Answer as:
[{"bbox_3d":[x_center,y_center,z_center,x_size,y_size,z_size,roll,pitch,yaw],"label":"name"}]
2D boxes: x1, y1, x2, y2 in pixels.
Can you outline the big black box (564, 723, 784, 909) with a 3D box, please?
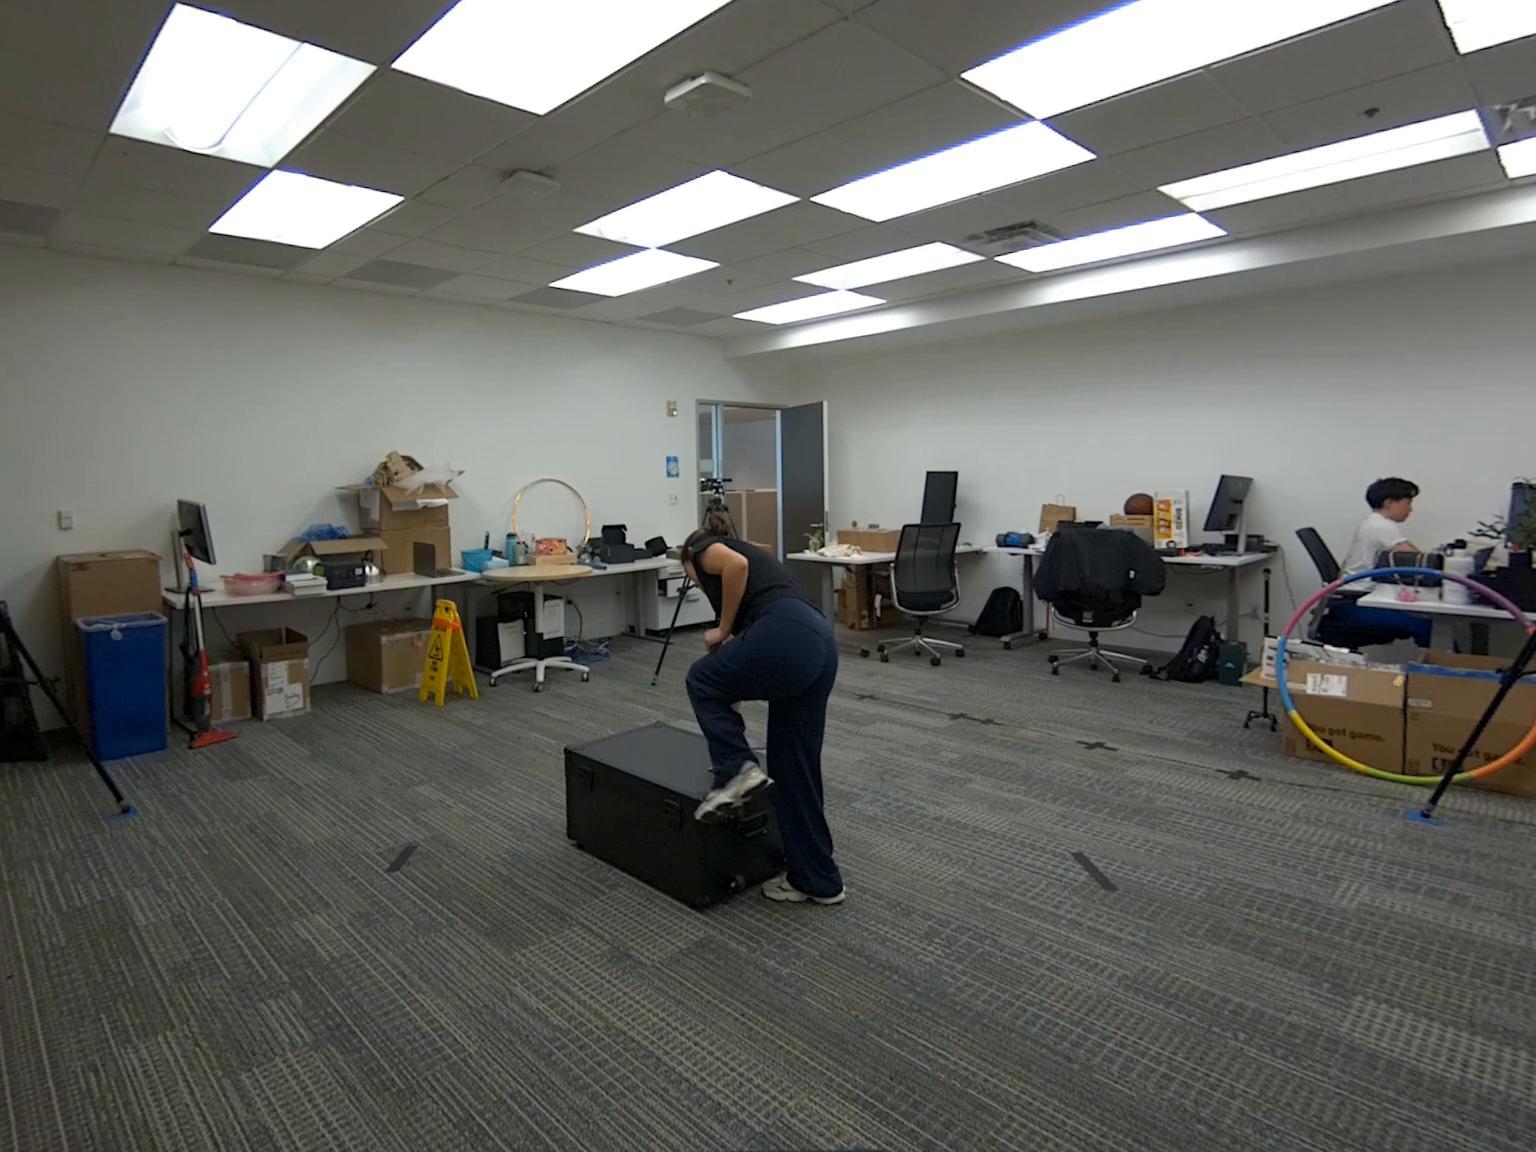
[{"bbox_3d":[-0.309,0.837,3.166,0.889,0.394,0.507,6,9,44],"label":"big black box"}]
